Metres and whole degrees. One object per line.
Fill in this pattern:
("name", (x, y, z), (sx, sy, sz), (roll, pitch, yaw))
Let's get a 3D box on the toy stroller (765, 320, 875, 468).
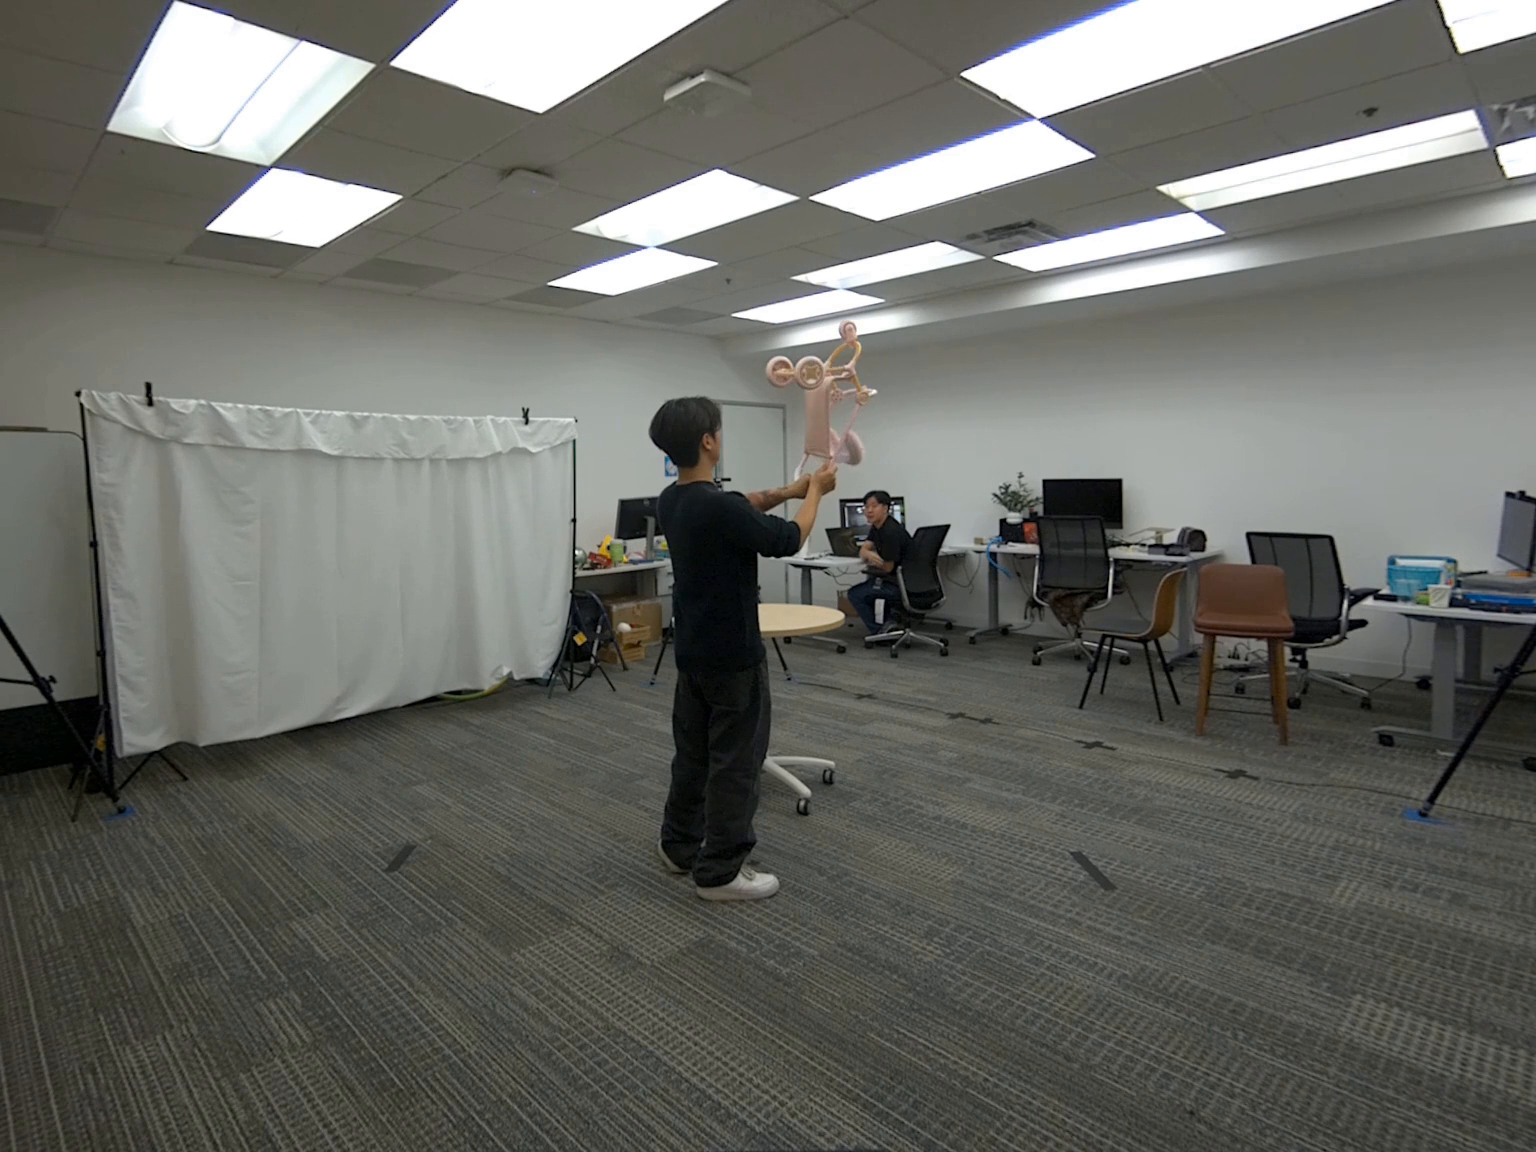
("toy stroller", (0.226, -0.606, 3.018), (0.337, 0.525, 0.290), (-22, 18, -22))
